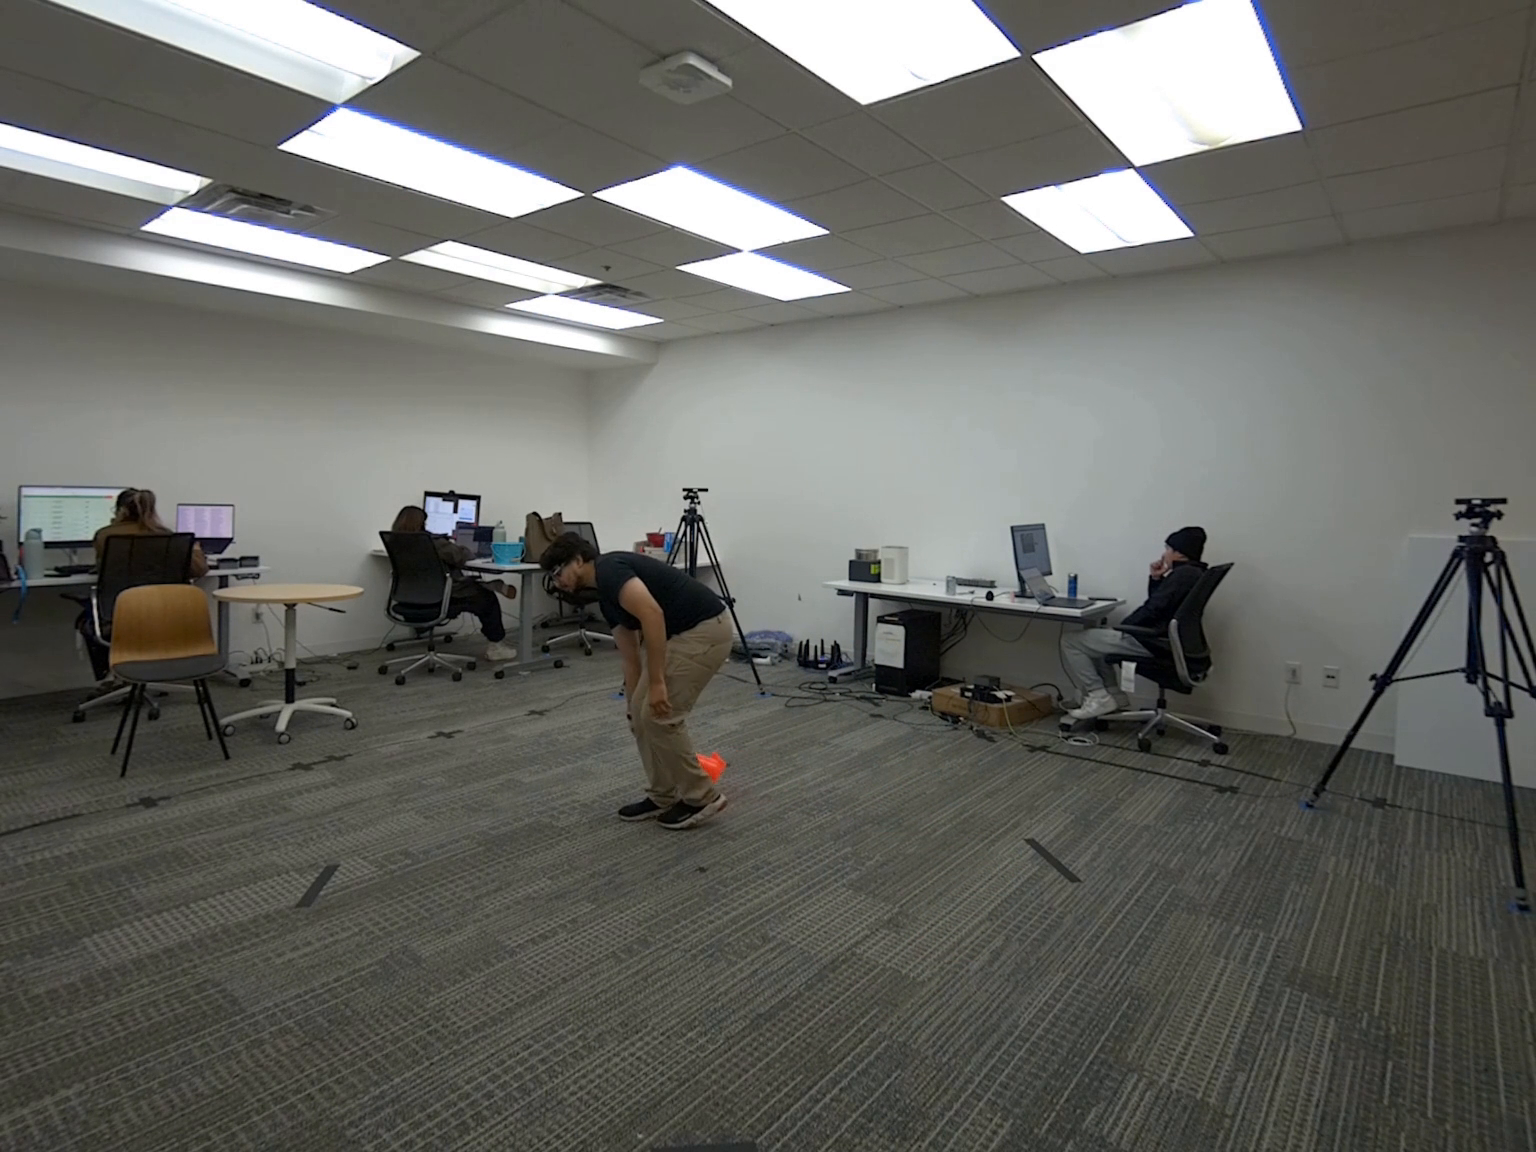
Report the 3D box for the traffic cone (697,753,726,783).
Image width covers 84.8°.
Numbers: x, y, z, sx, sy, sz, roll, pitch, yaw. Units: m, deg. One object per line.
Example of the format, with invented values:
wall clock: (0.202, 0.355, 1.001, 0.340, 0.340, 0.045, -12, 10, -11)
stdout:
traffic cone: (-0.420, 0.805, 3.830, 0.376, 0.205, 0.207, 35, -10, -15)
